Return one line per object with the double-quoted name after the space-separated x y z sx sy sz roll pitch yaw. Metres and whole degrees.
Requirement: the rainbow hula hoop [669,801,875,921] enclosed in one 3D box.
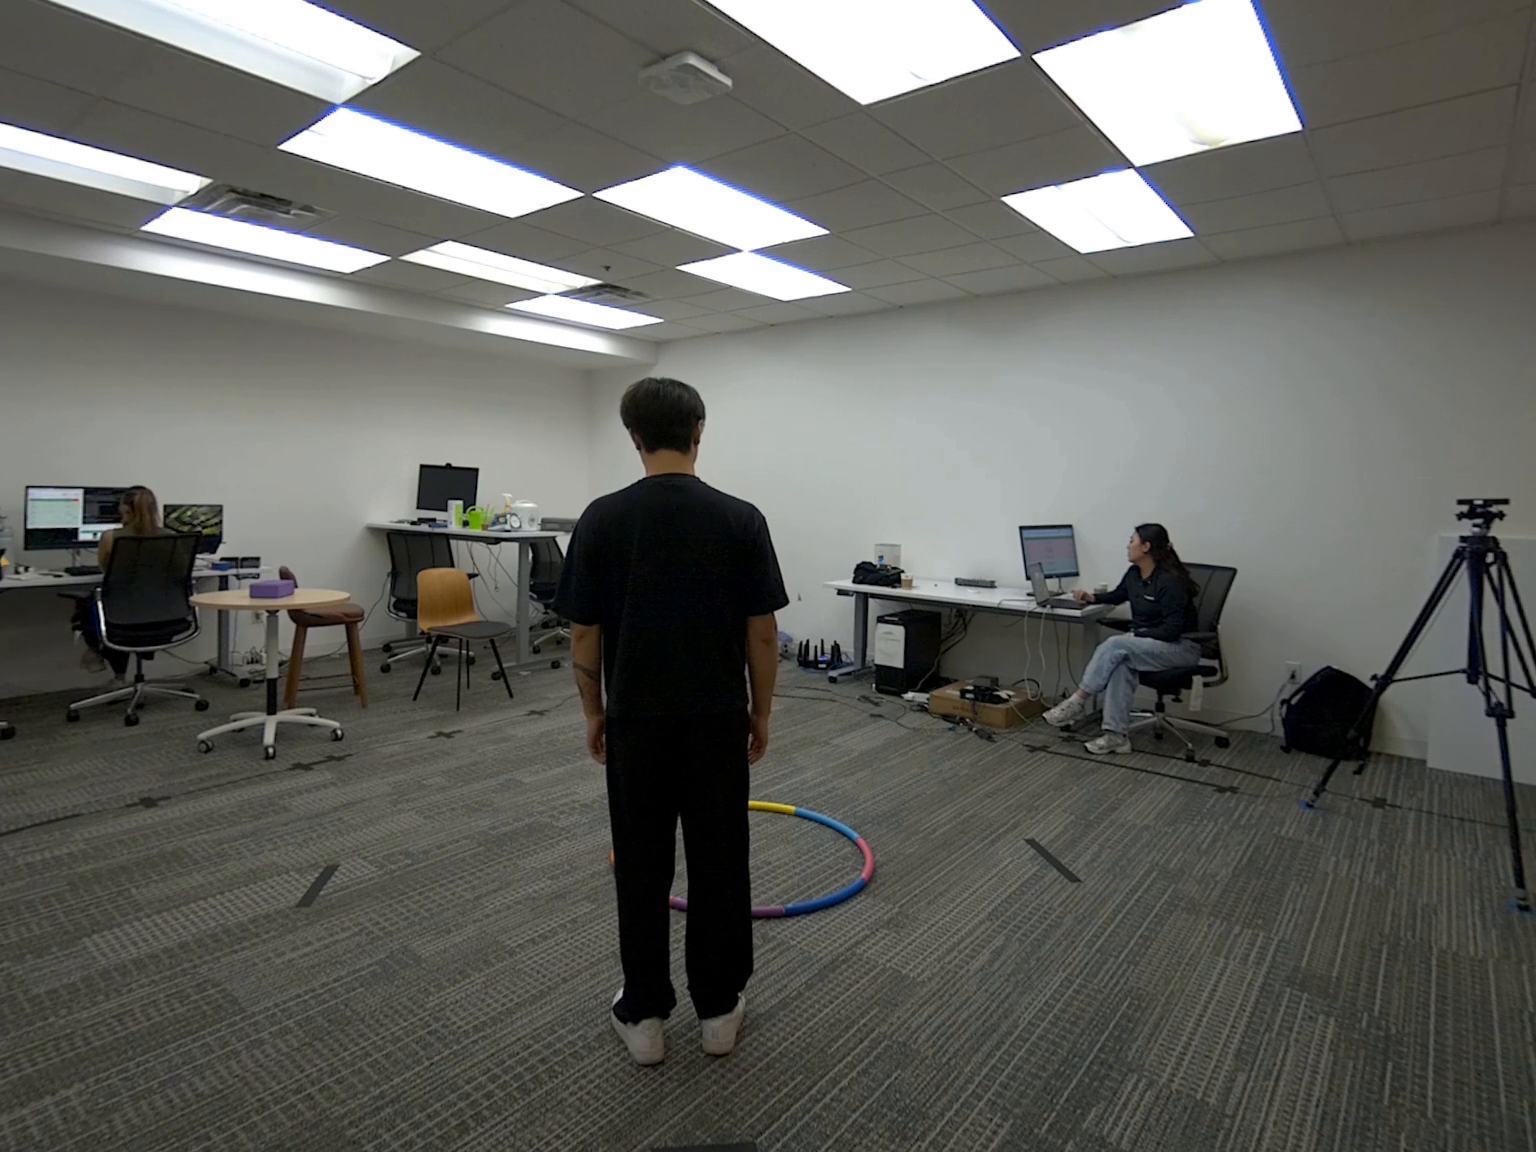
-0.105 1.029 3.232 0.978 0.035 0.984 1 6 -2 "rainbow hula hoop"
